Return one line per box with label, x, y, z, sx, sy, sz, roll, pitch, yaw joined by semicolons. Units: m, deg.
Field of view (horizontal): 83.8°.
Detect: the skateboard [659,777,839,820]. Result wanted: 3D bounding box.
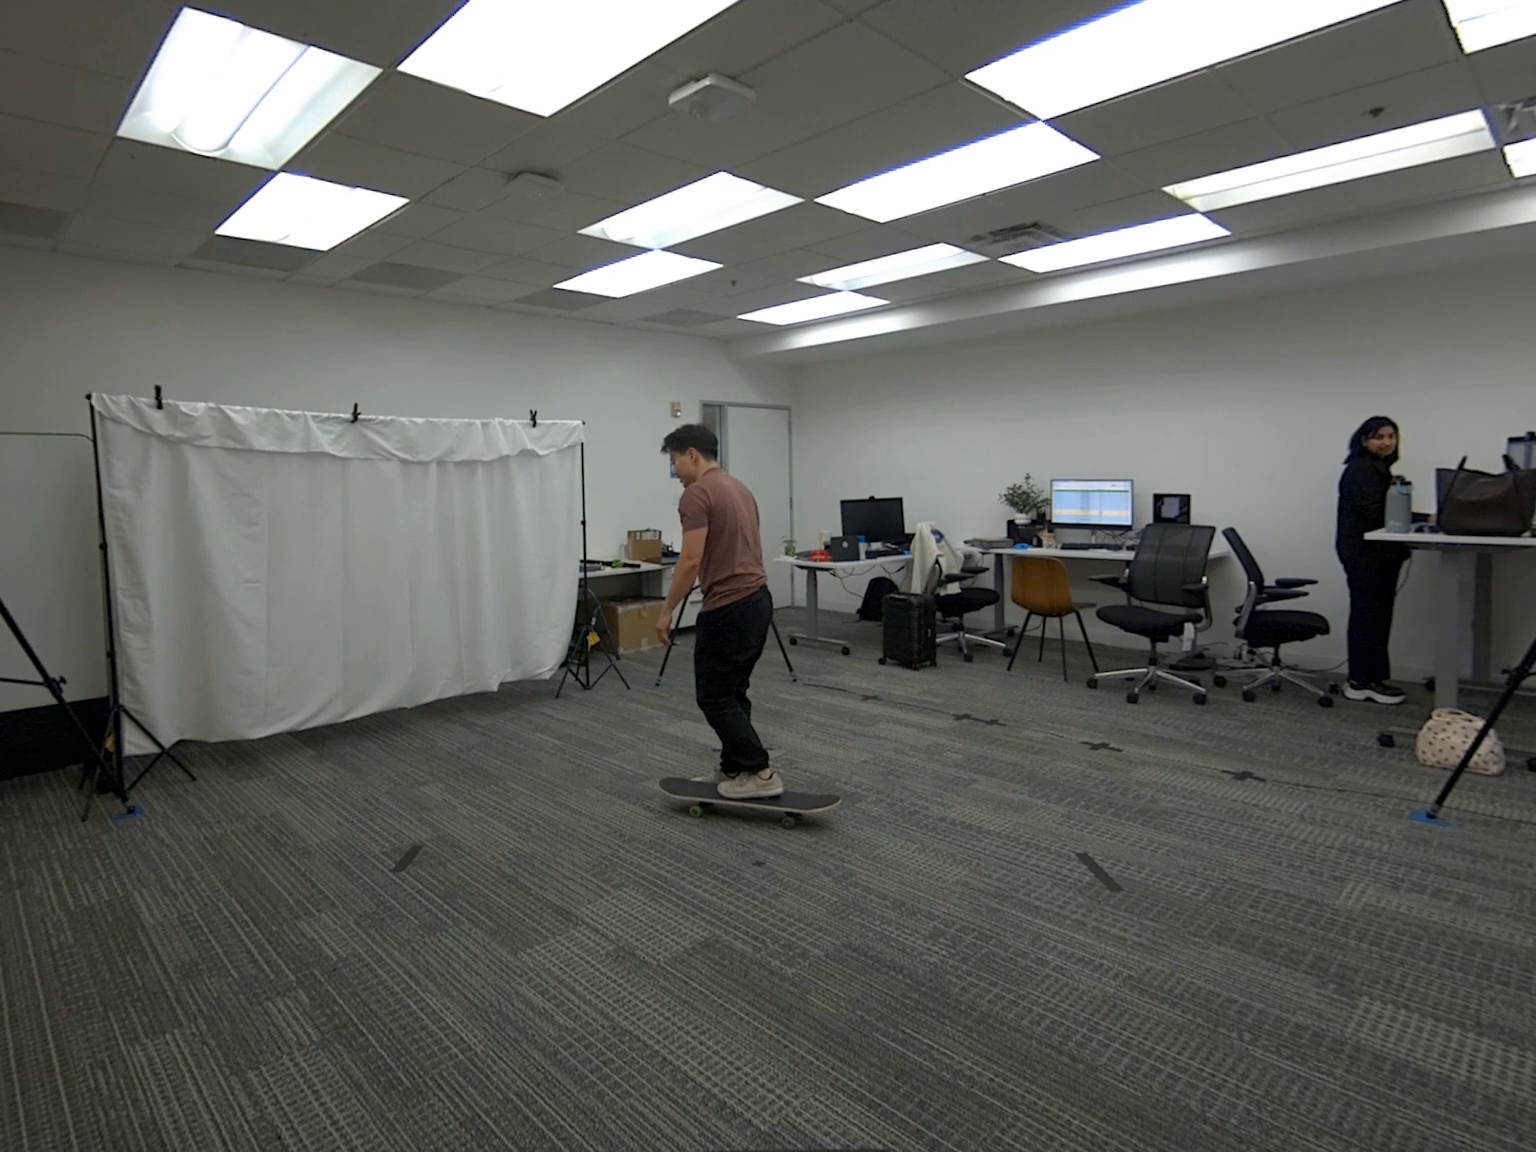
skateboard;-0.088;0.941;3.562;0.800;0.110;0.191;2;7;20
